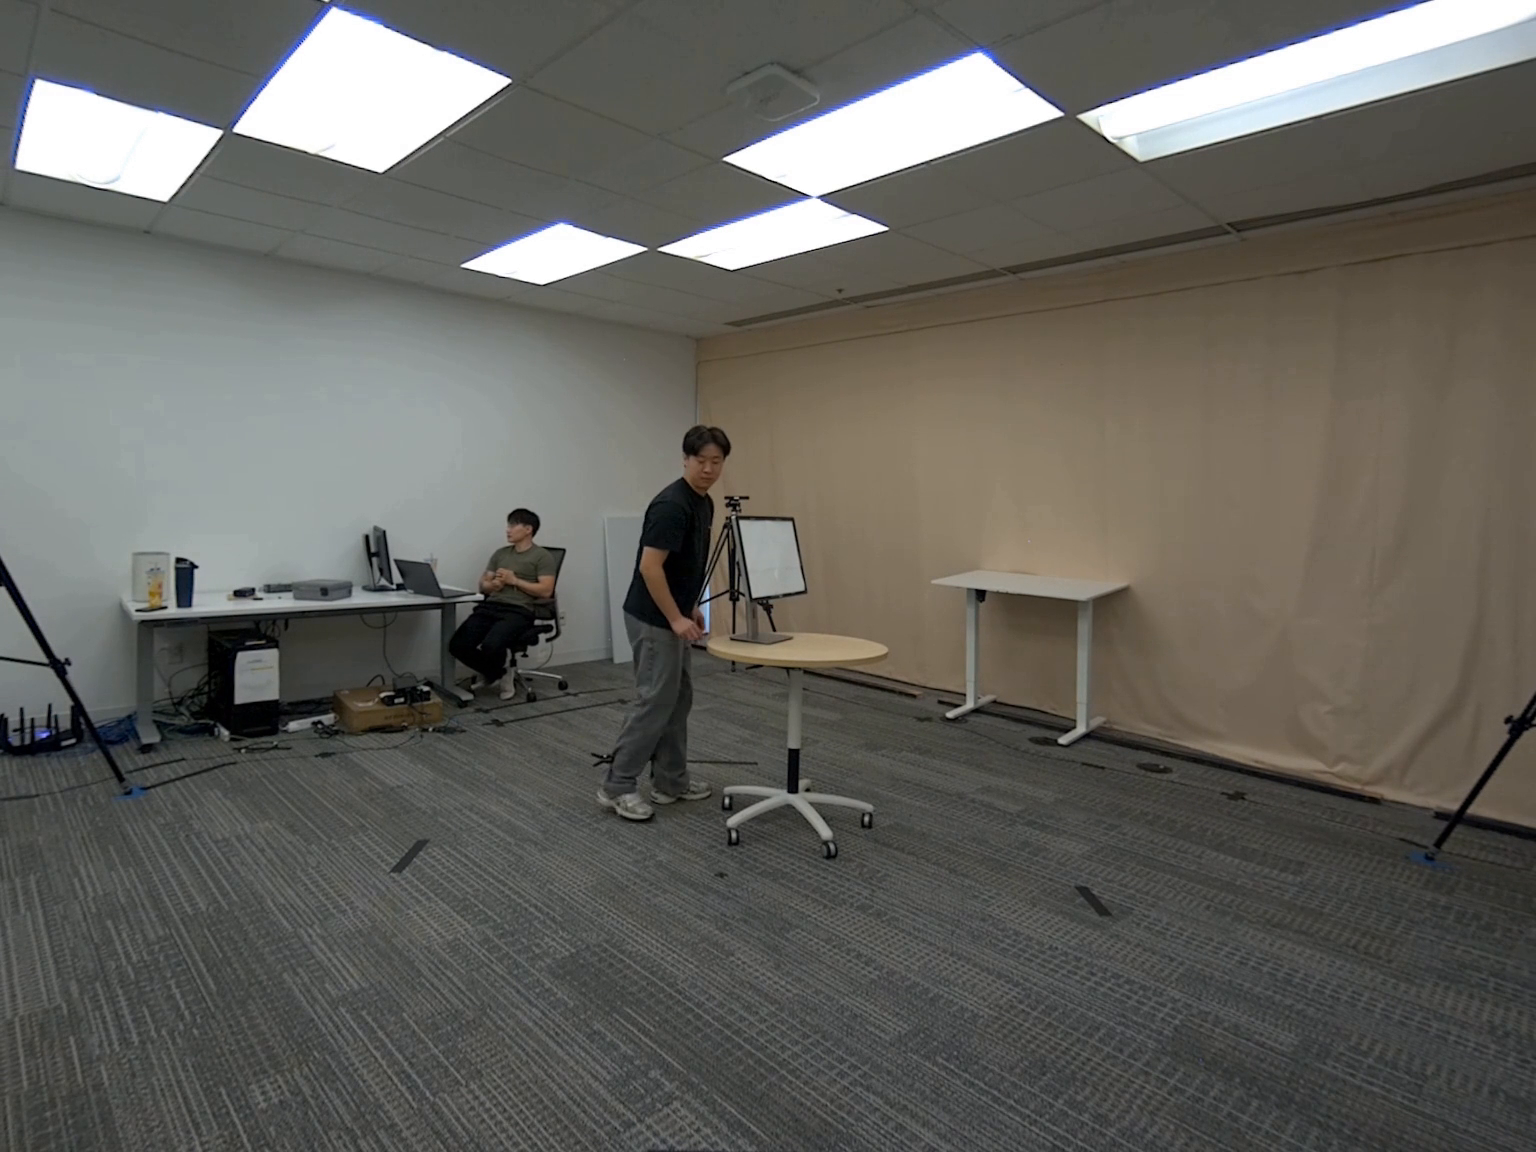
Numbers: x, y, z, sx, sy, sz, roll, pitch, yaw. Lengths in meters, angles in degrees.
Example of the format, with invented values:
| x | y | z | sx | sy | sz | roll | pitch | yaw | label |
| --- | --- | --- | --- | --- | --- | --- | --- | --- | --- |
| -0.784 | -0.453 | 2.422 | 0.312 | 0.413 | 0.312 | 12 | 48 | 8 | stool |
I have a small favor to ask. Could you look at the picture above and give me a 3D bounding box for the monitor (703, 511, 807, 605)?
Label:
| x | y | z | sx | sy | sz | roll | pitch | yaw | label |
| --- | --- | --- | --- | --- | --- | --- | --- | --- | --- |
| -0.025 | 0.018 | 3.711 | 0.227 | 0.564 | 0.551 | 5 | 5 | 30 | monitor |
